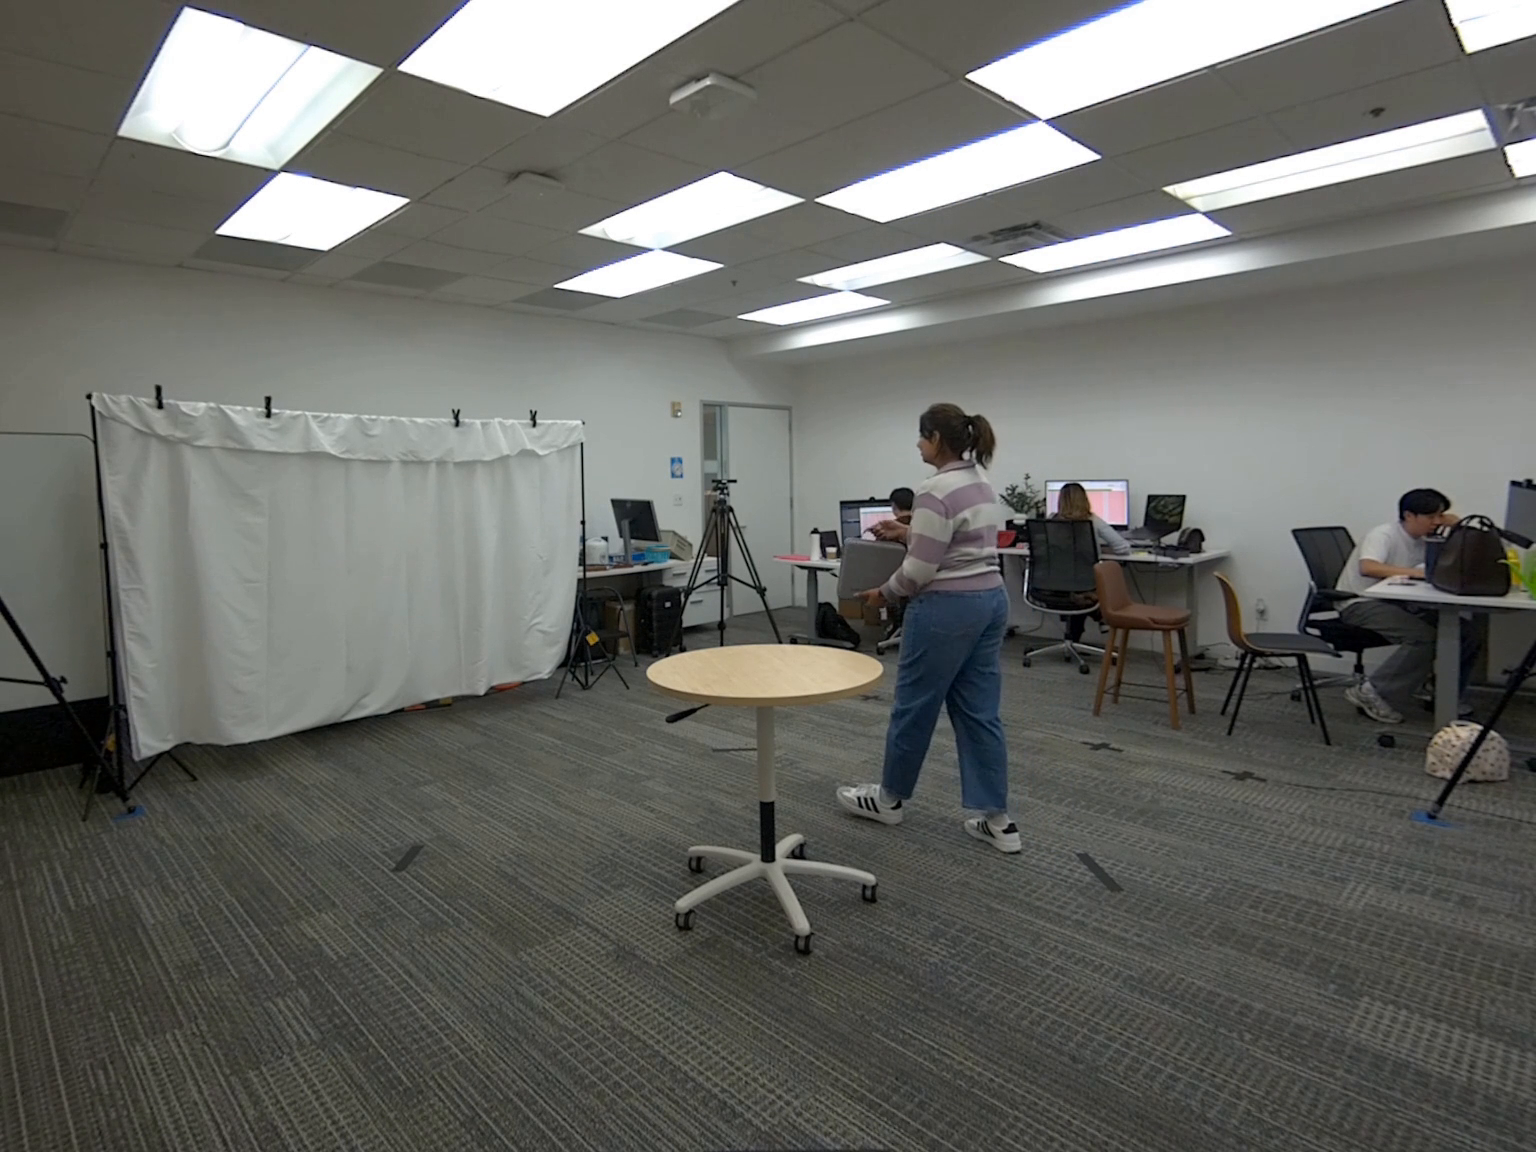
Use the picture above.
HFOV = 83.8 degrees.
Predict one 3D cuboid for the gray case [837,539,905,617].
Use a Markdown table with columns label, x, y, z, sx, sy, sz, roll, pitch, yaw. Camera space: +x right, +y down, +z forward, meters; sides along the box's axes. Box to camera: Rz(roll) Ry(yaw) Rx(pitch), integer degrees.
| label | x | y | z | sx | sy | sz | roll | pitch | yaw |
| --- | --- | --- | --- | --- | --- | --- | --- | --- | --- |
| gray case | 0.419 | -0.027 | 3.481 | 0.258 | 0.259 | 0.104 | 10 | 9 | 4 |
